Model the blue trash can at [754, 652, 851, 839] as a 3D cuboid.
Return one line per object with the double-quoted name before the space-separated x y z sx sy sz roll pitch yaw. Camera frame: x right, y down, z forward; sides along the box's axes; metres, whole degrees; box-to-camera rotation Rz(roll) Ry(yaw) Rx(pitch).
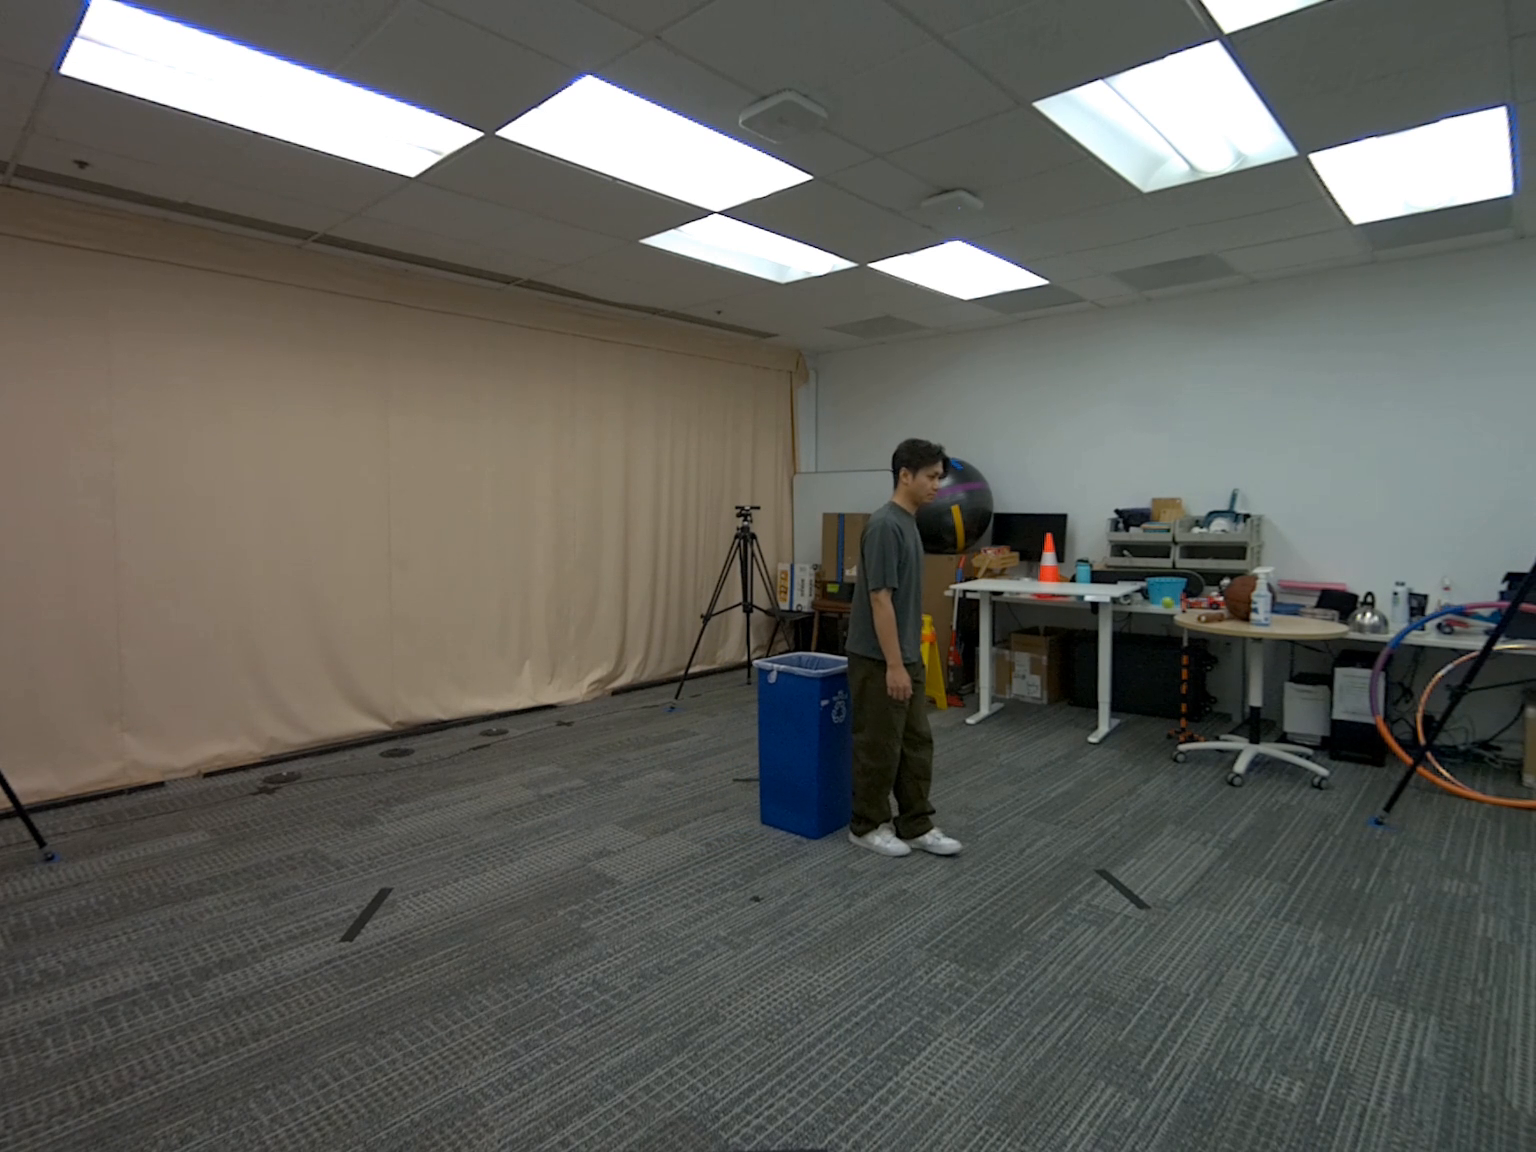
"blue trash can" 0.176 0.724 3.706 0.390 0.712 0.363 3 4 38
